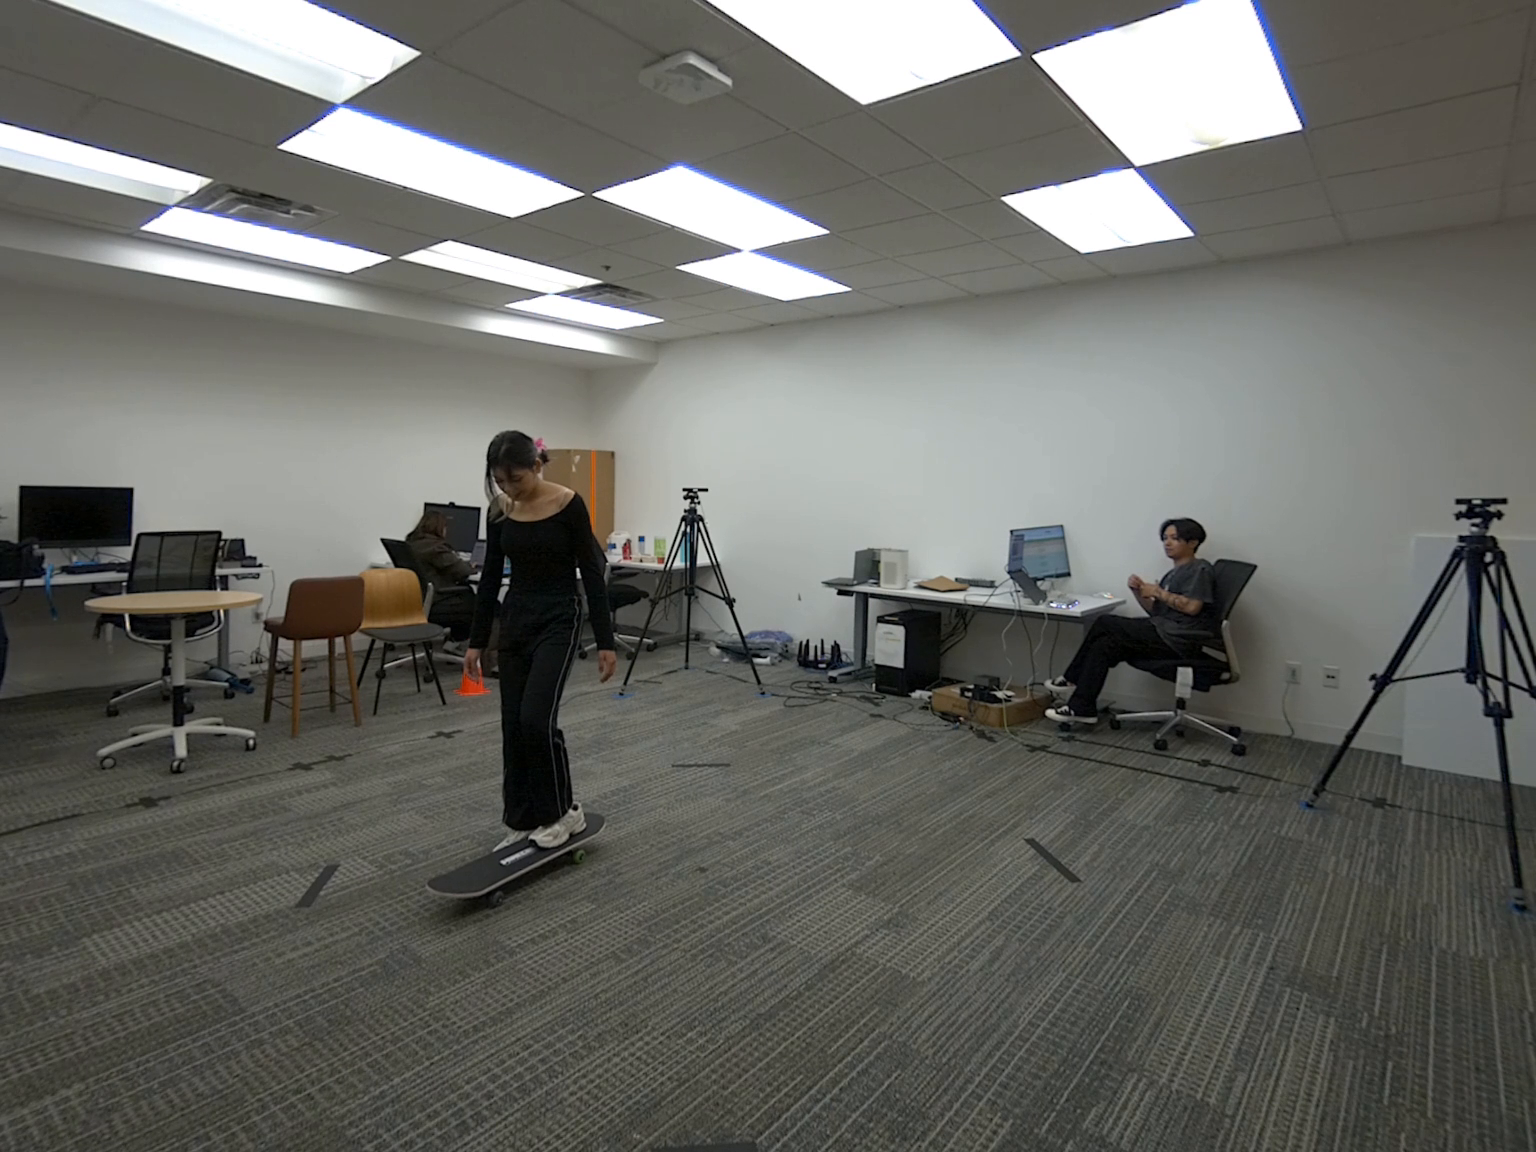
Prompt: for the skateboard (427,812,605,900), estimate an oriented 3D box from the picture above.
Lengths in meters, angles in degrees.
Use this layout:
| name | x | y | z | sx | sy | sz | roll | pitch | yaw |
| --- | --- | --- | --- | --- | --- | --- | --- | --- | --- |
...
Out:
| name | x | y | z | sx | sy | sz | roll | pitch | yaw |
| --- | --- | --- | --- | --- | --- | --- | --- | --- | --- |
| skateboard | -0.876 | 1.020 | 3.010 | 0.199 | 0.110 | 0.764 | 5 | 6 | 31 |
